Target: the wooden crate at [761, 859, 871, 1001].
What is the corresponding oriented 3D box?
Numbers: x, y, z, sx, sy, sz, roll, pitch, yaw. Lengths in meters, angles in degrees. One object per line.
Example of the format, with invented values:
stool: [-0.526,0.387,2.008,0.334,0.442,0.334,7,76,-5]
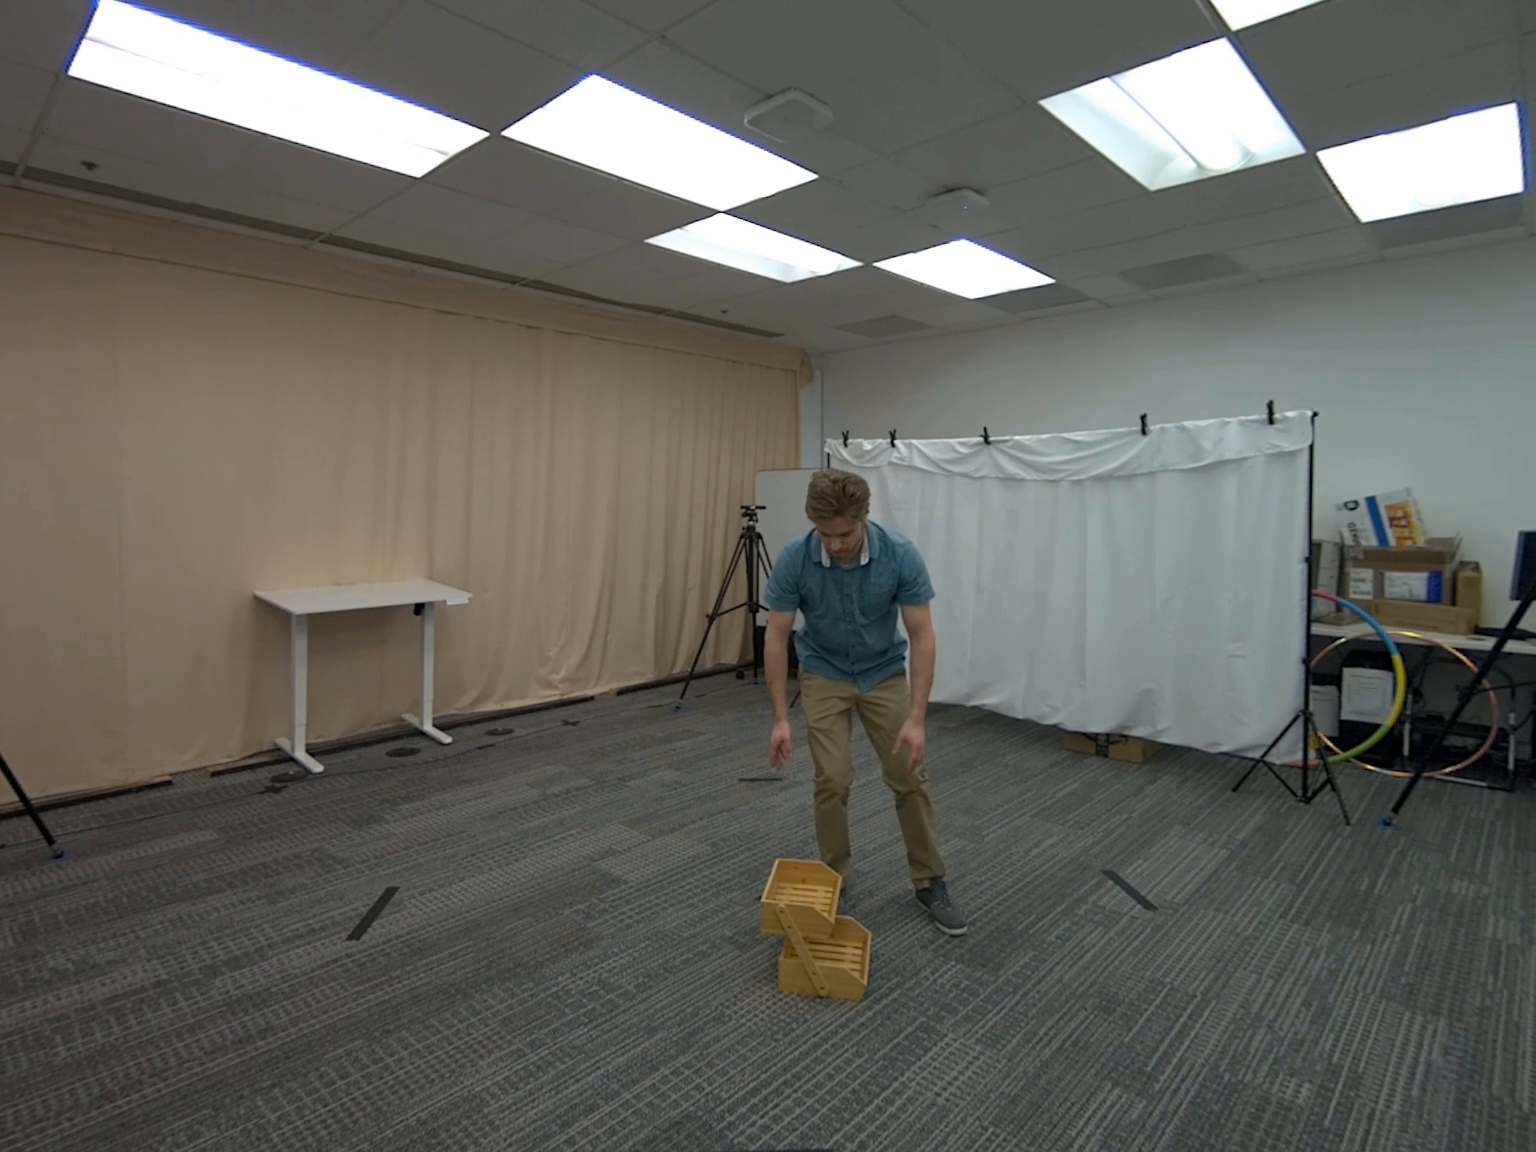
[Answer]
wooden crate: [0.163,1.049,2.528,0.306,0.273,0.321,1,3,11]
